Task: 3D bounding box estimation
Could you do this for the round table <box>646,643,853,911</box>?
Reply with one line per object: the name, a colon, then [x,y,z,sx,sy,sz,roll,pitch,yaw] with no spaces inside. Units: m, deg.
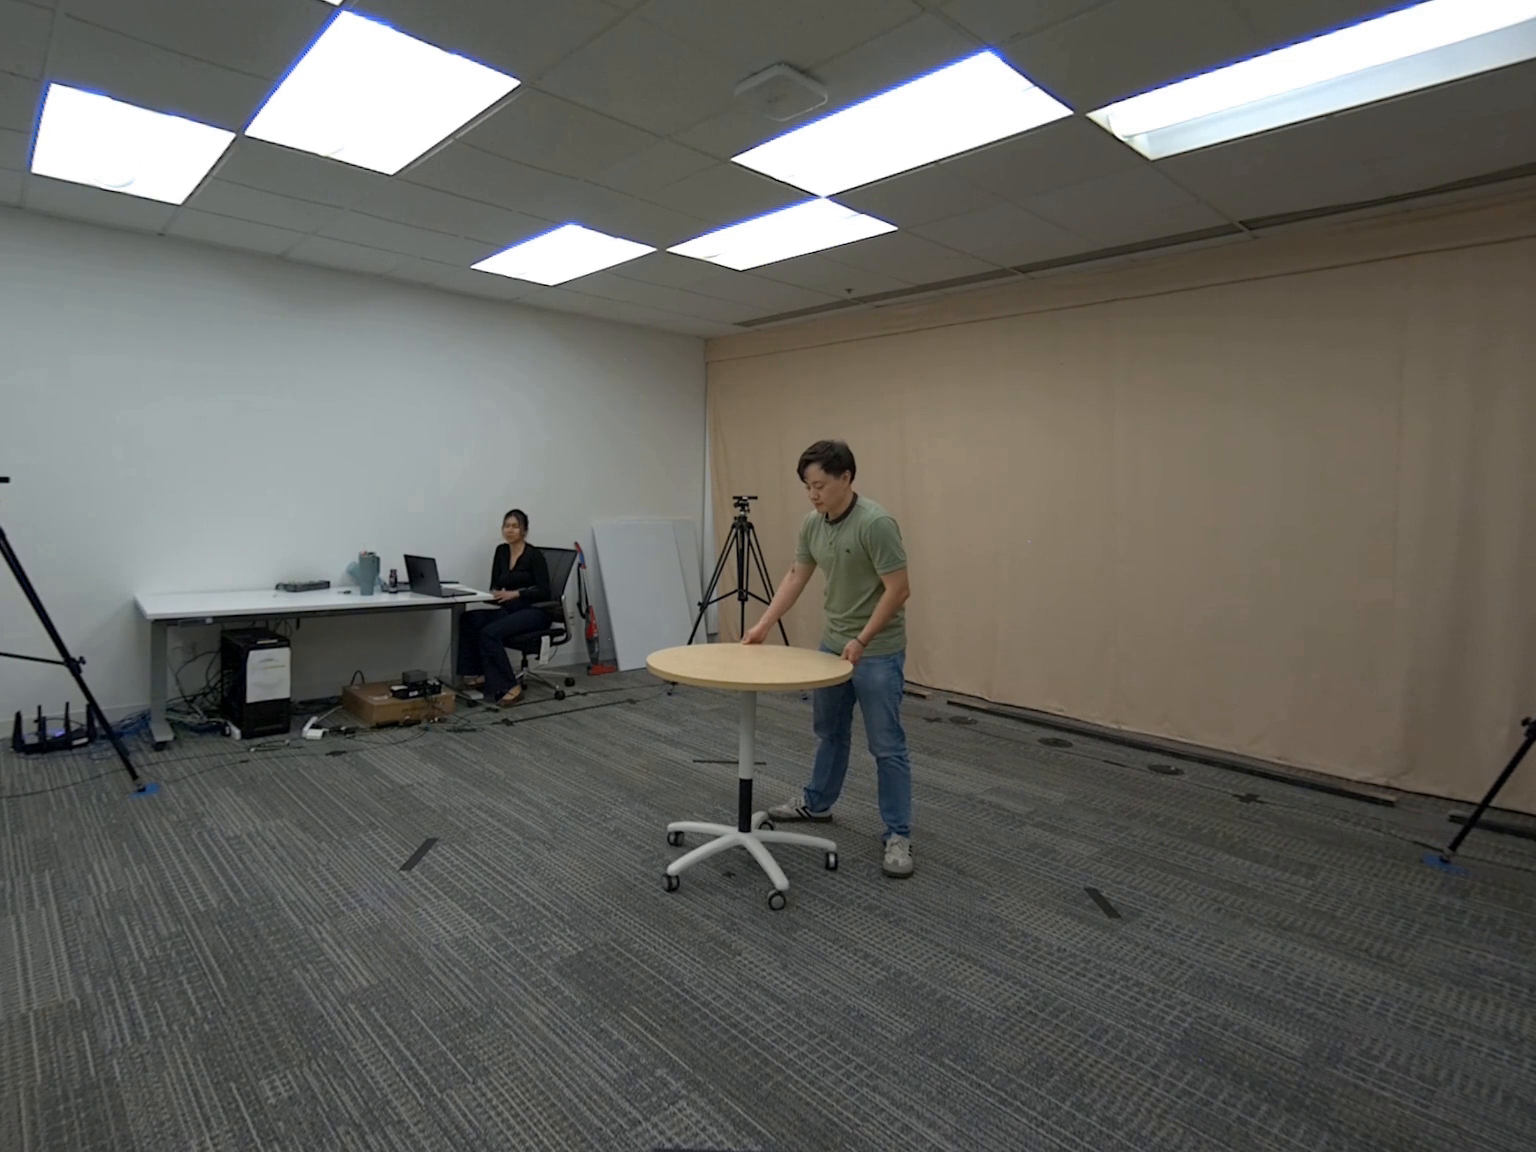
round table: [-0.082,0.710,3.149,0.763,0.792,0.766,2,4,-1]
